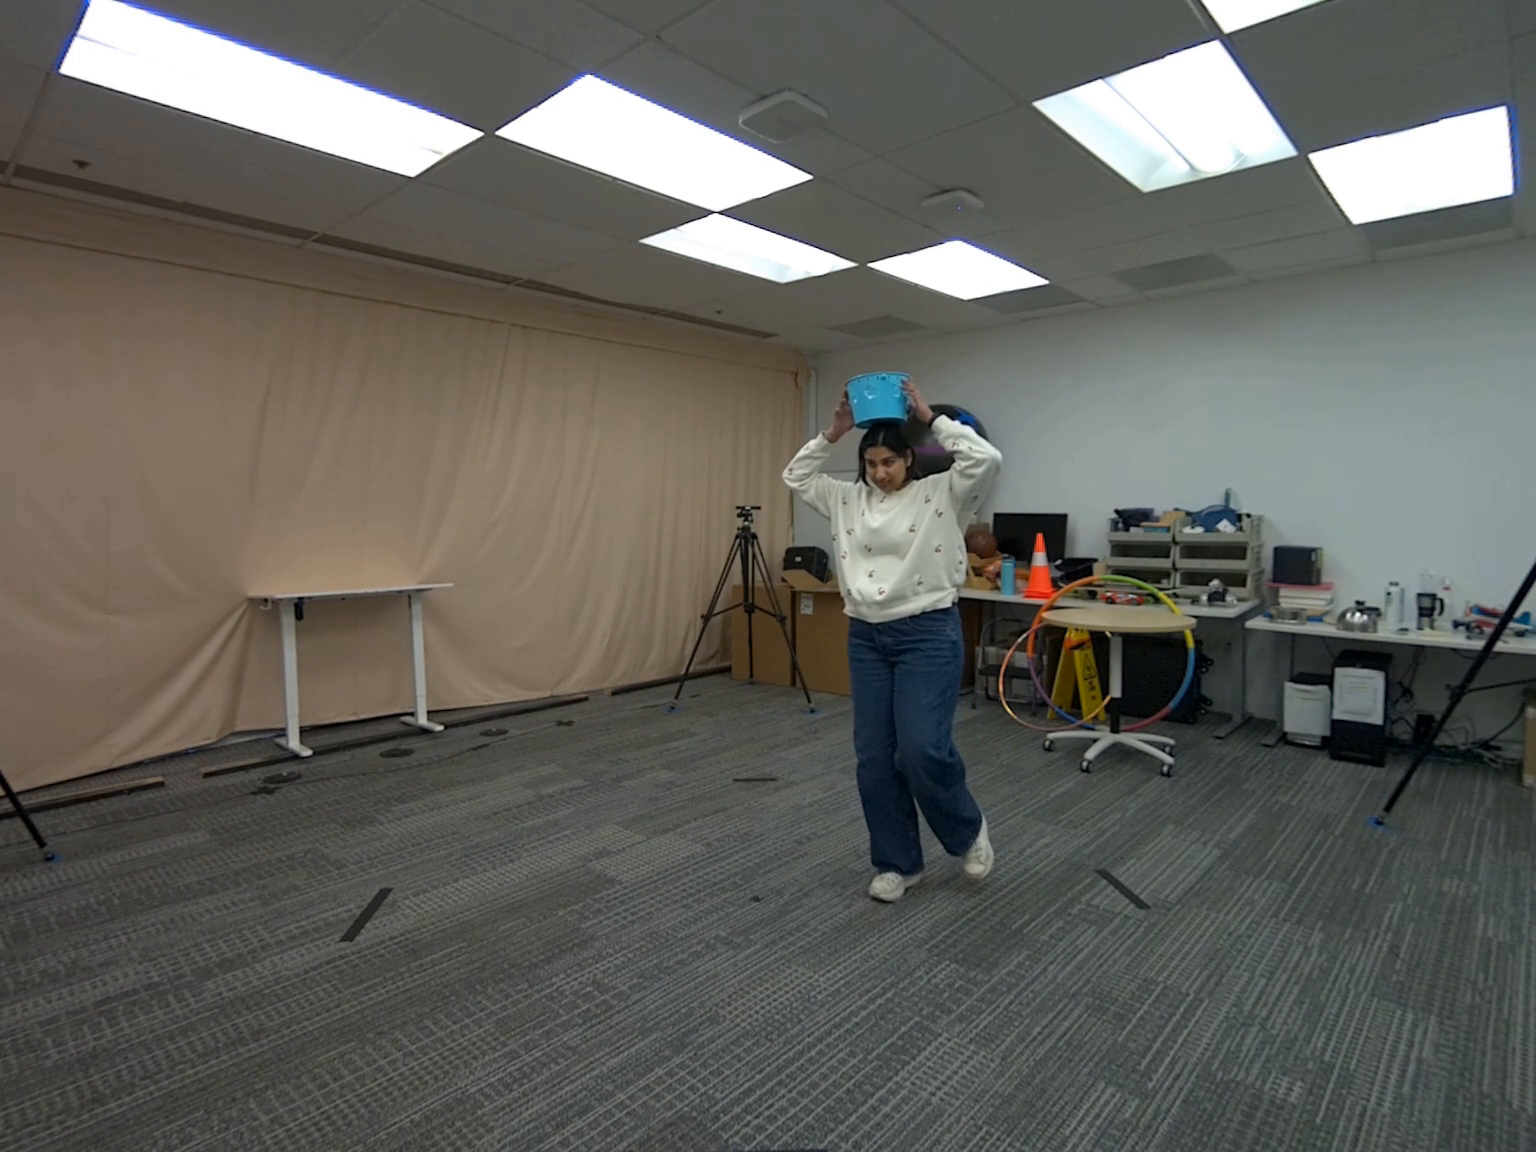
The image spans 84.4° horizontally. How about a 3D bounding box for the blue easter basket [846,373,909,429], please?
[{"bbox_3d":[0.403,-0.613,2.984,0.243,0.156,0.243,-1,-2,-2],"label":"blue easter basket"}]
